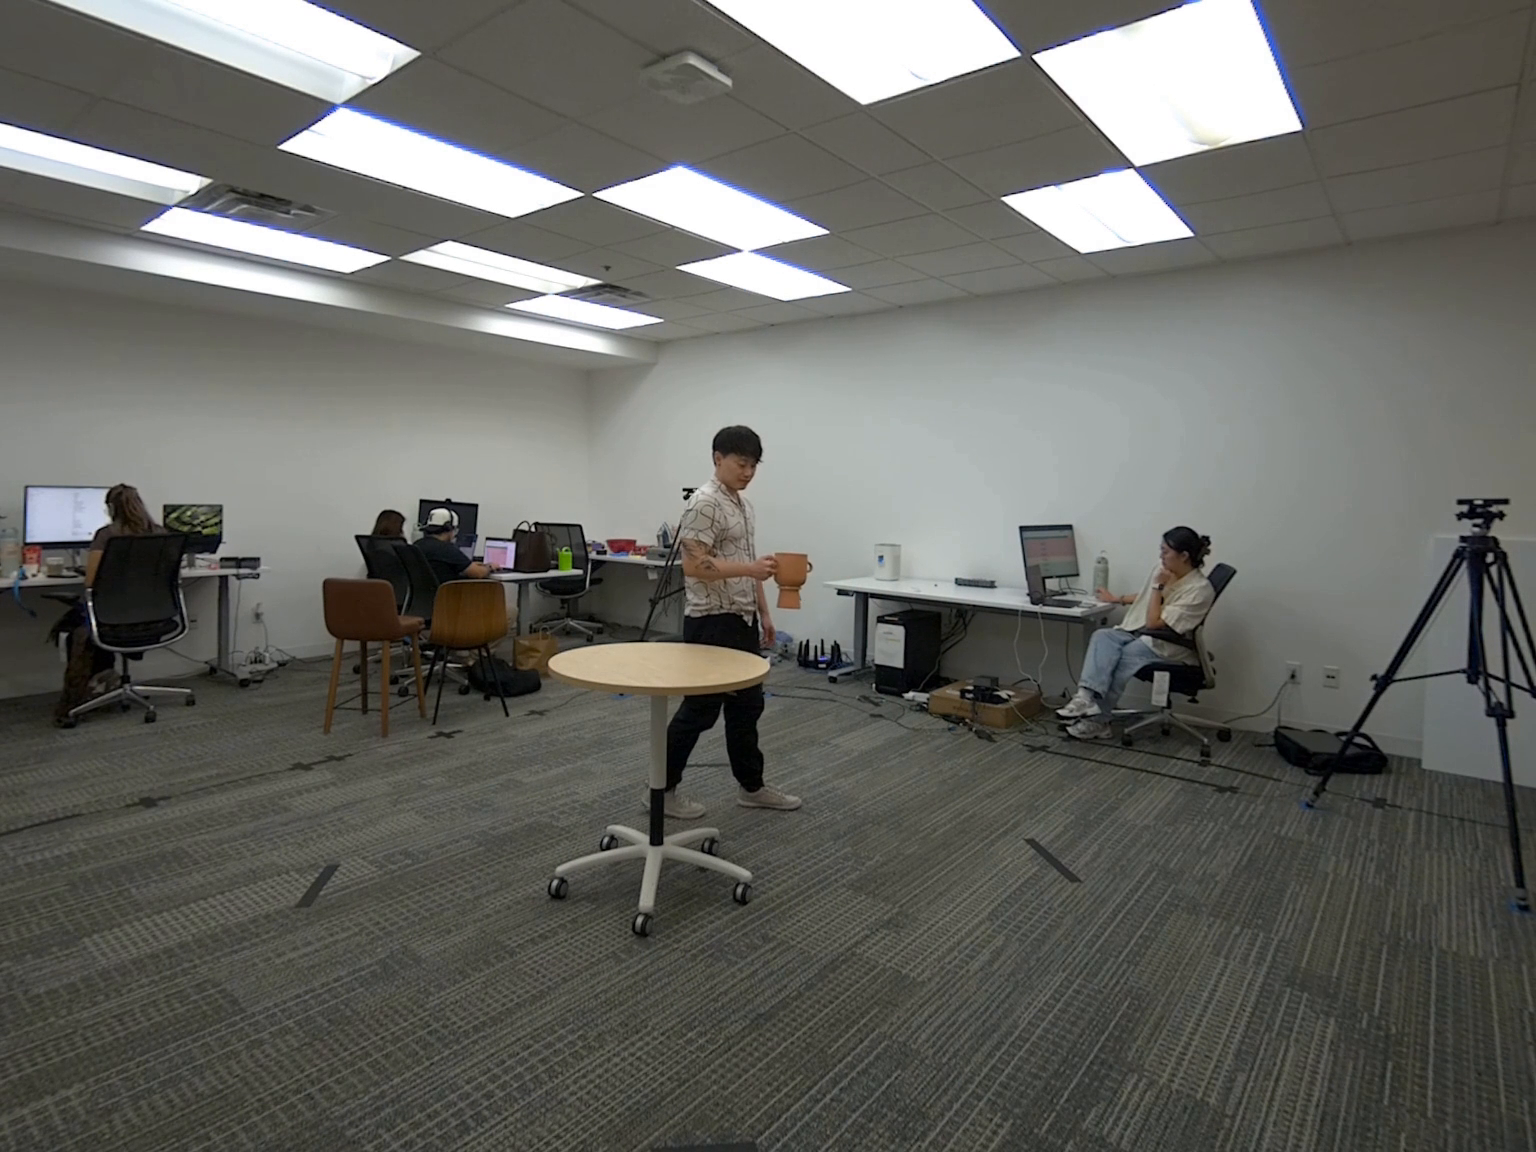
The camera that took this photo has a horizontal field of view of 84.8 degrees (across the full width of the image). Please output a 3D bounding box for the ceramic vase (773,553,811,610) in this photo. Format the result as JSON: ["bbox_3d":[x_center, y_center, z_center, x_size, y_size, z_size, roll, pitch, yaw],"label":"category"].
[{"bbox_3d":[0.076,0.018,3.421,0.162,0.220,0.132,3,-1,17],"label":"ceramic vase"}]
